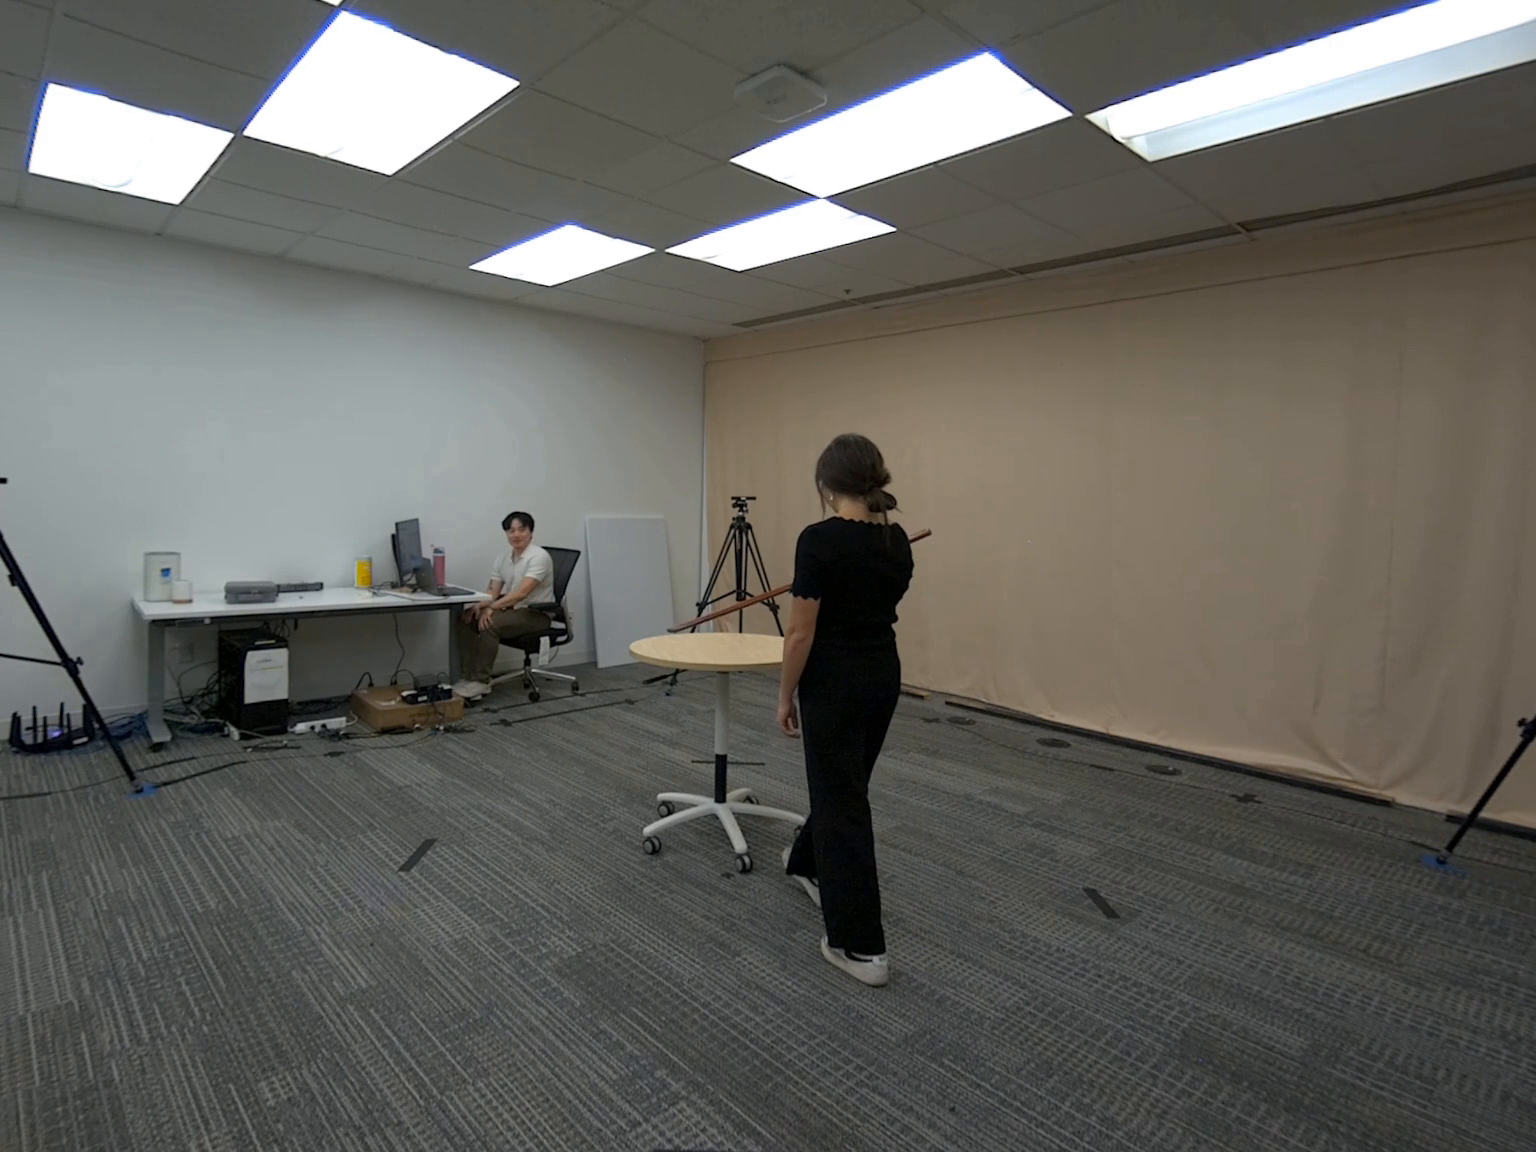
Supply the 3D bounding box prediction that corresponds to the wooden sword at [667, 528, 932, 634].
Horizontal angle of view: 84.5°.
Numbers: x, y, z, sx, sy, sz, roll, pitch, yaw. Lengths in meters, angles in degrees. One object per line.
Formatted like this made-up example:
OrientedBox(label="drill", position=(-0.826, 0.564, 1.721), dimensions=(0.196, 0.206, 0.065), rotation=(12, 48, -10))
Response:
OrientedBox(label="wooden sword", position=(0.137, 0.024, 3.000), dimensions=(1.021, 0.051, 0.024), rotation=(-22, -2, -7))
